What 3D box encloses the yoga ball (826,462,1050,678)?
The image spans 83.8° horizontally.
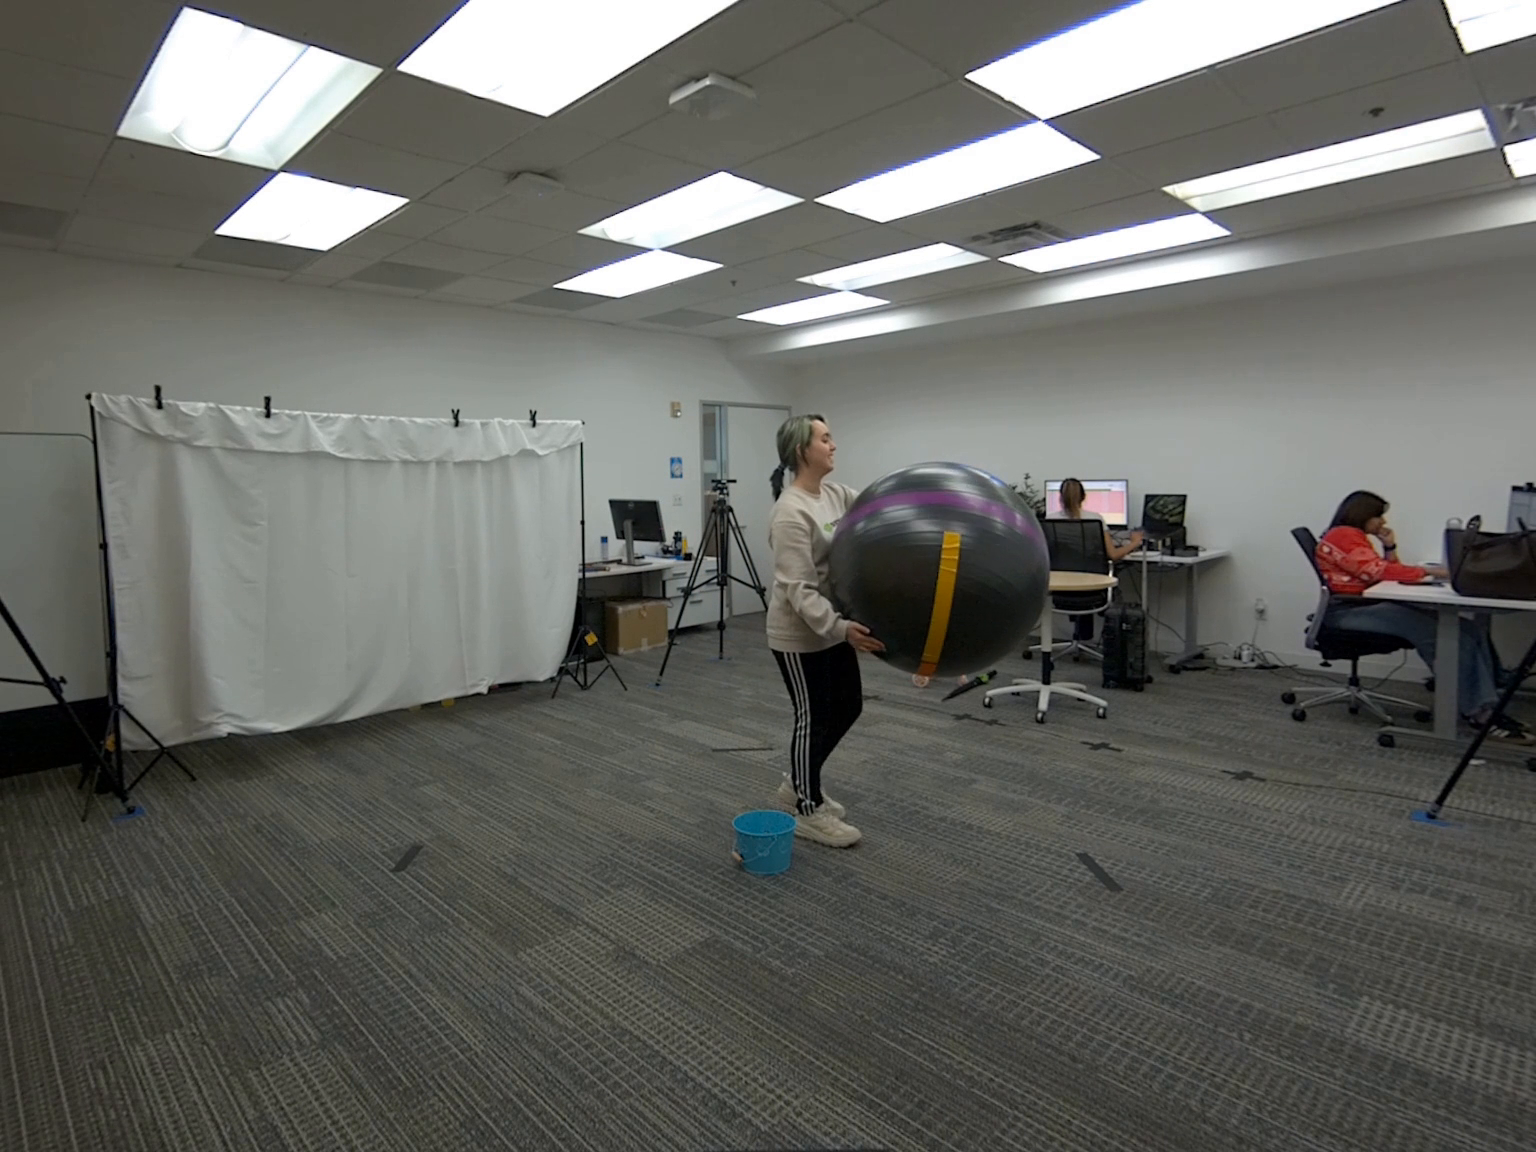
[{"bbox_3d":[0.606,-0.013,3.014,0.757,0.755,0.762,-1,5,-2],"label":"yoga ball"}]
